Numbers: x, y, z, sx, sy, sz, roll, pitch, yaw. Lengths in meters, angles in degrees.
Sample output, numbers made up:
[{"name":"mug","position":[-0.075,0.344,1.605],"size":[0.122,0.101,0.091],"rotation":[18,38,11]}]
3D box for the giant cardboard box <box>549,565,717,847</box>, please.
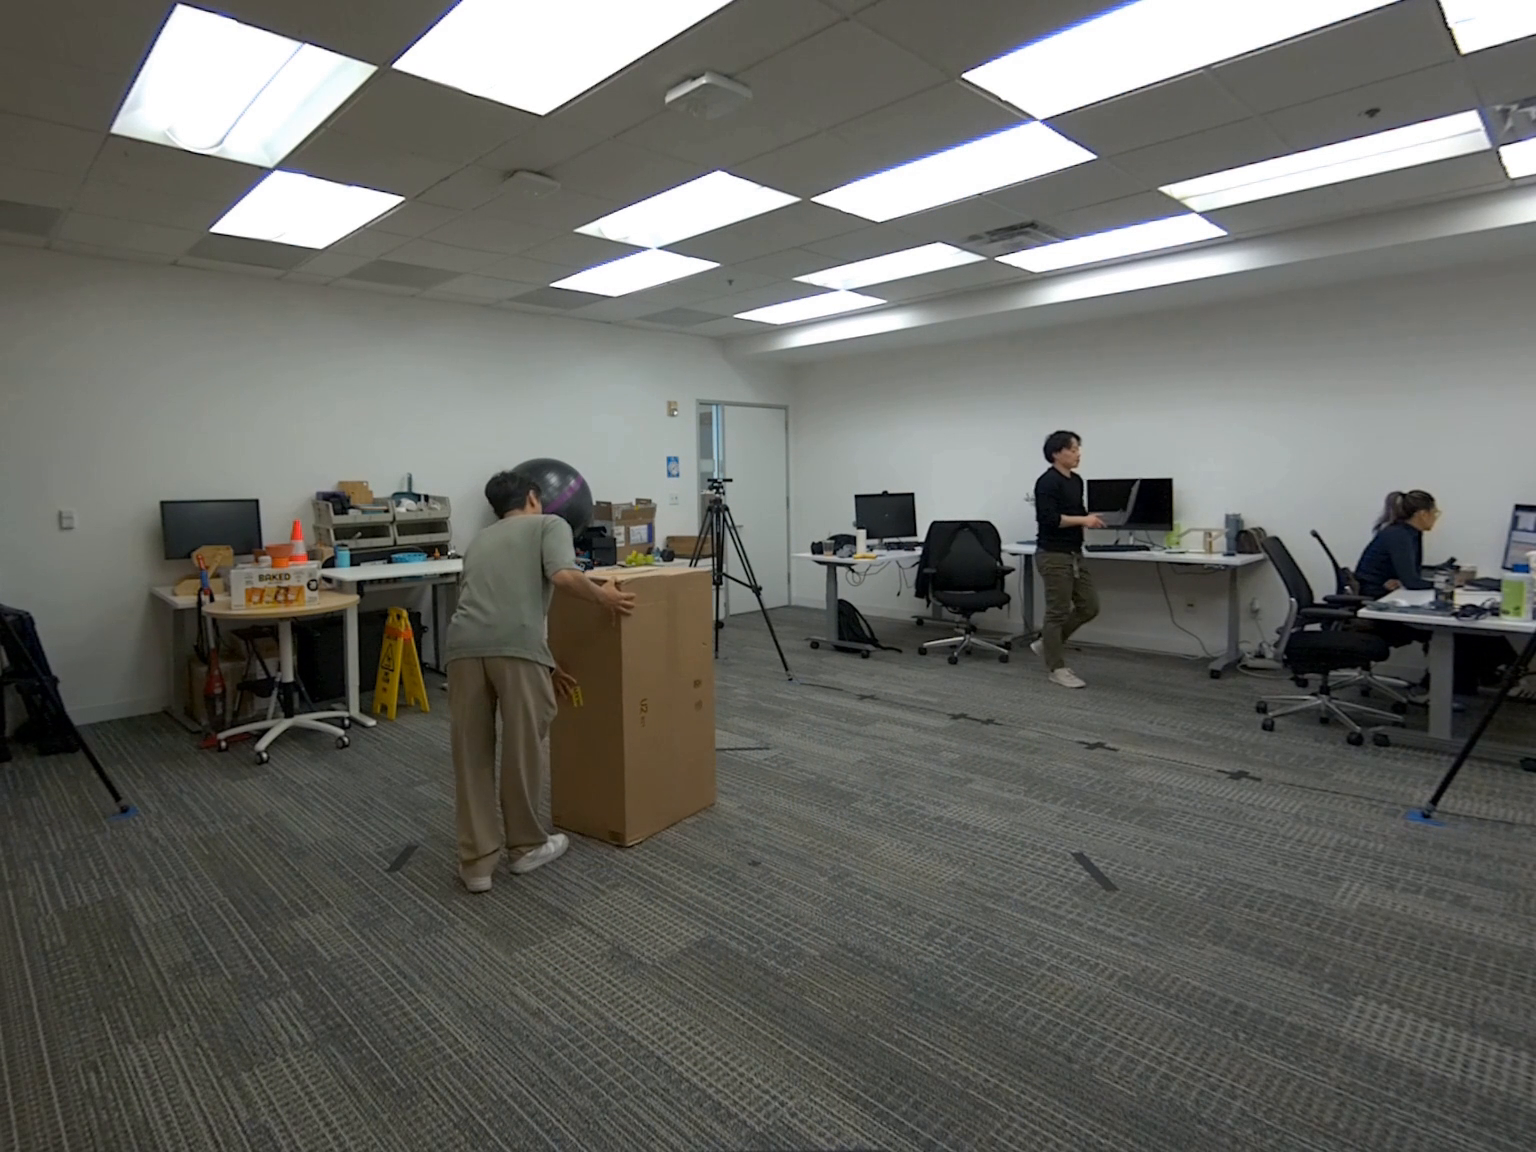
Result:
[{"name":"giant cardboard box","position":[-0.558,0.494,3.583],"size":[0.438,1.023,0.563],"rotation":[1,4,36]}]
